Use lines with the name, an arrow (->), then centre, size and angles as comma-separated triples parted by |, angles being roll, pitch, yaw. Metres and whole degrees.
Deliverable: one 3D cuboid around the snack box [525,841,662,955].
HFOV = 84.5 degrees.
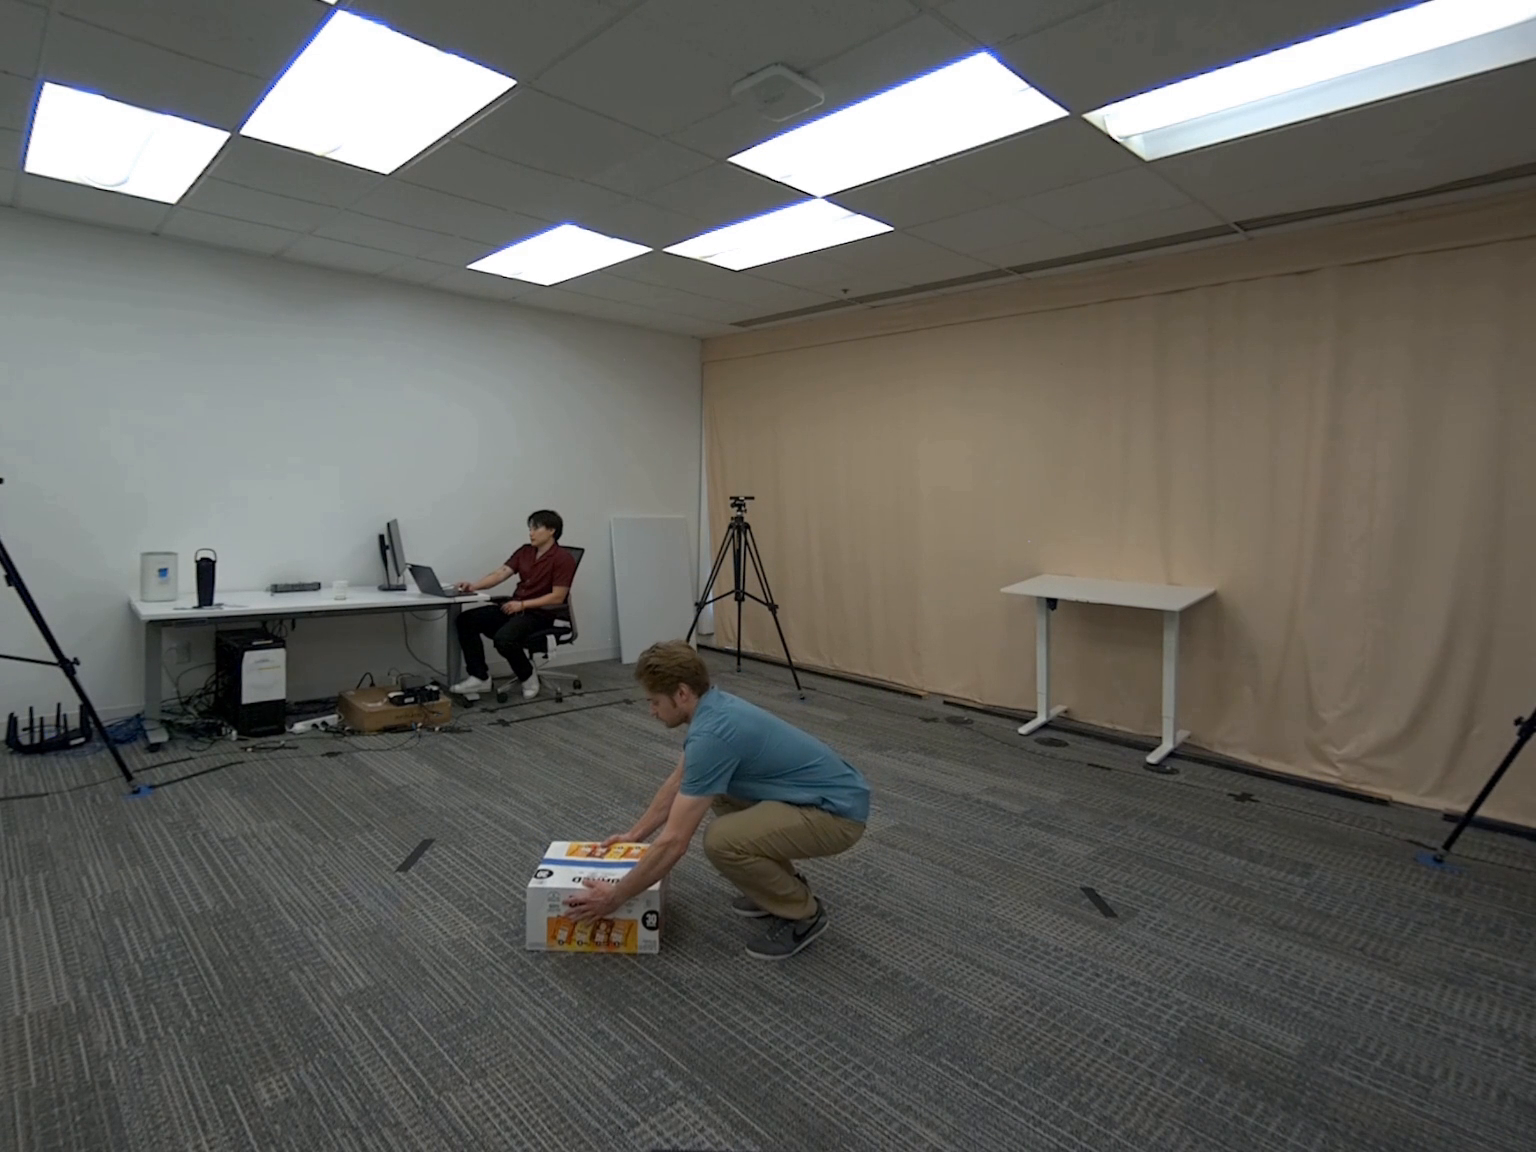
snack box -> -0.549, 1.019, 2.723 | 0.405, 0.205, 0.341 | 1, 4, -1
